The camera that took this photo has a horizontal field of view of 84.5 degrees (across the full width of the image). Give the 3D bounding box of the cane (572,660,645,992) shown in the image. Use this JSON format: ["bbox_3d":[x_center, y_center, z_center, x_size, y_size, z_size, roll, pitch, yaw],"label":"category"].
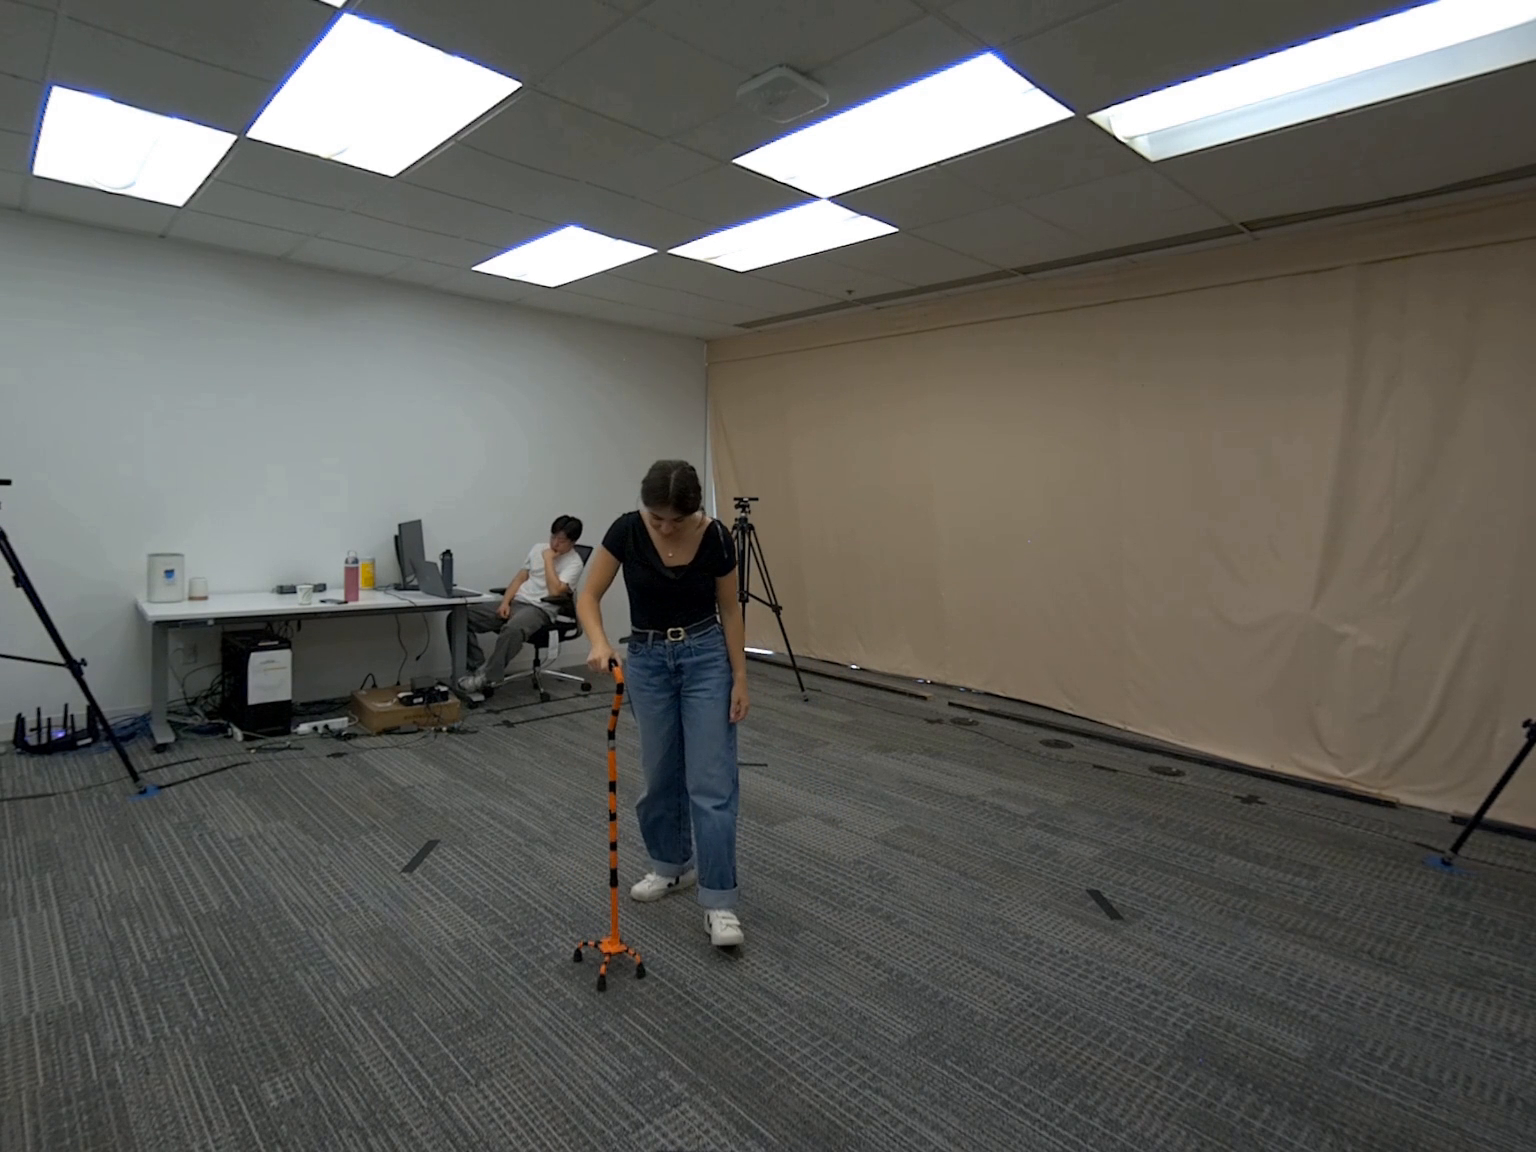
[{"bbox_3d":[-0.481,0.714,2.456,0.148,0.907,0.211,-1,2,-33],"label":"cane"}]
